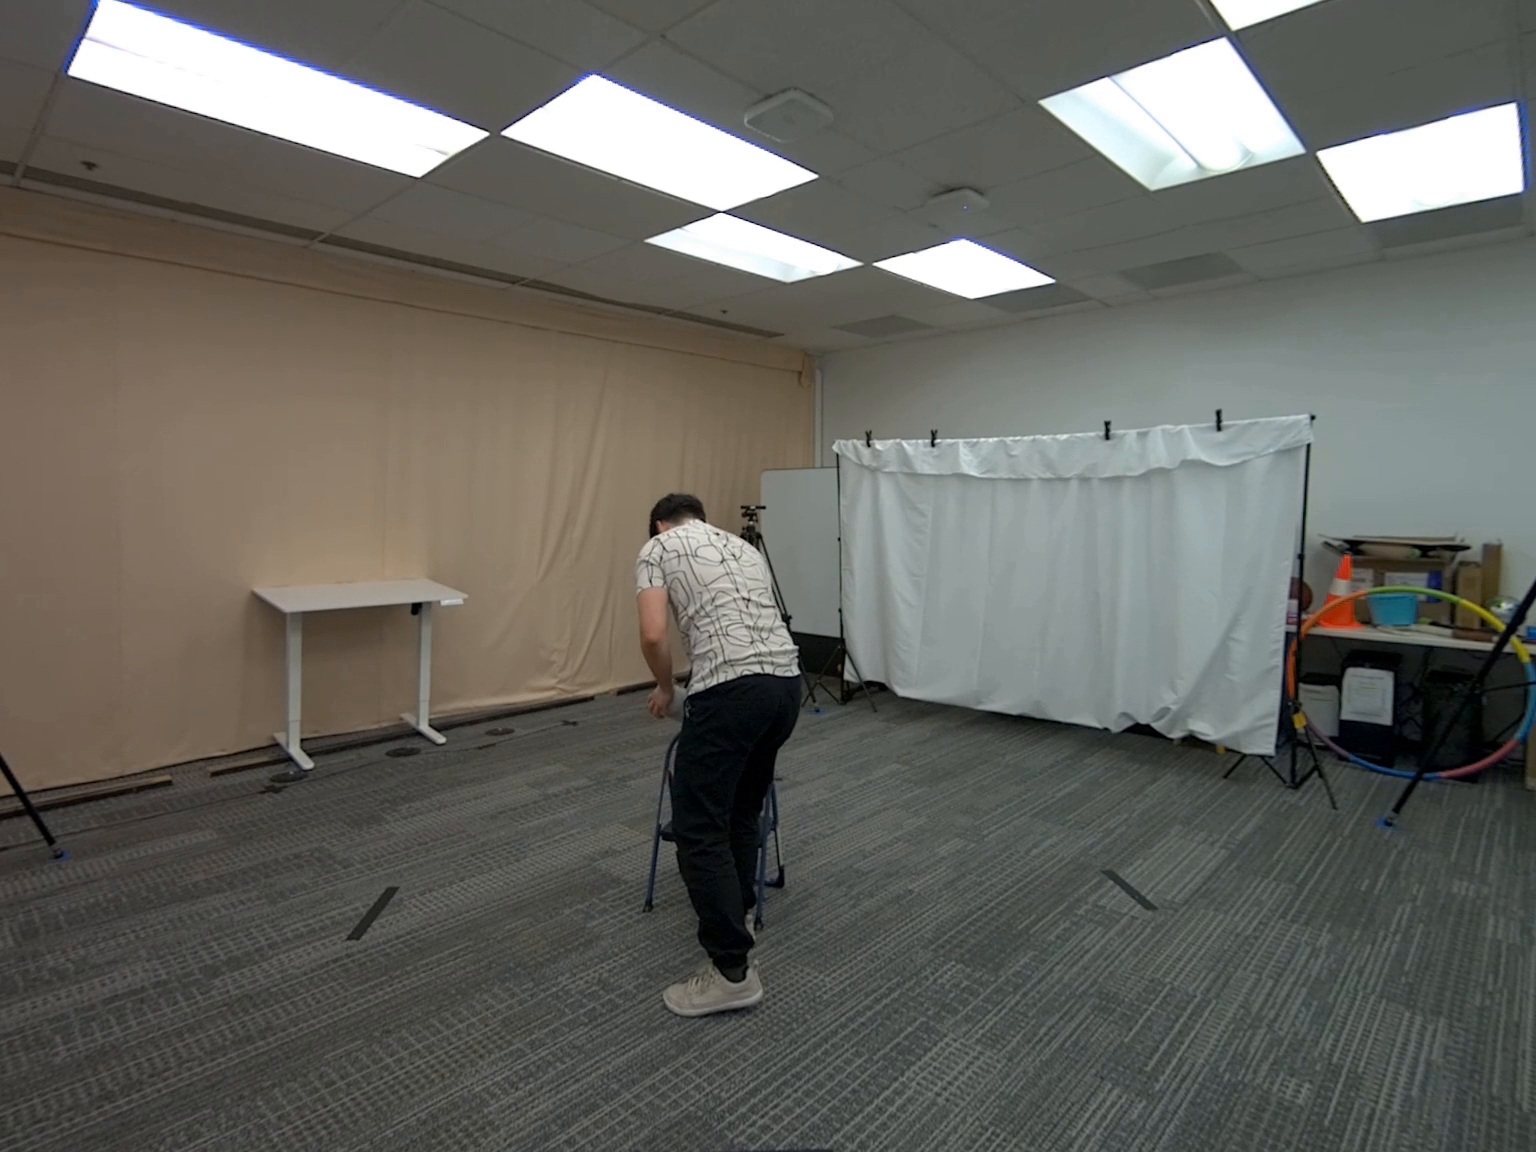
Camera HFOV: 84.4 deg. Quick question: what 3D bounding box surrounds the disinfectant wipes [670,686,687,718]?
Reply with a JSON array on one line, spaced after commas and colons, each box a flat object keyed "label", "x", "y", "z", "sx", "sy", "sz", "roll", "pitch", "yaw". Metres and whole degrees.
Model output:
[{"label": "disinfectant wipes", "x": -0.271, "y": 0.437, "z": 2.791, "sx": 0.122, "sy": 0.118, "sz": 0.210, "roll": 4, "pitch": -21, "yaw": 47}]
